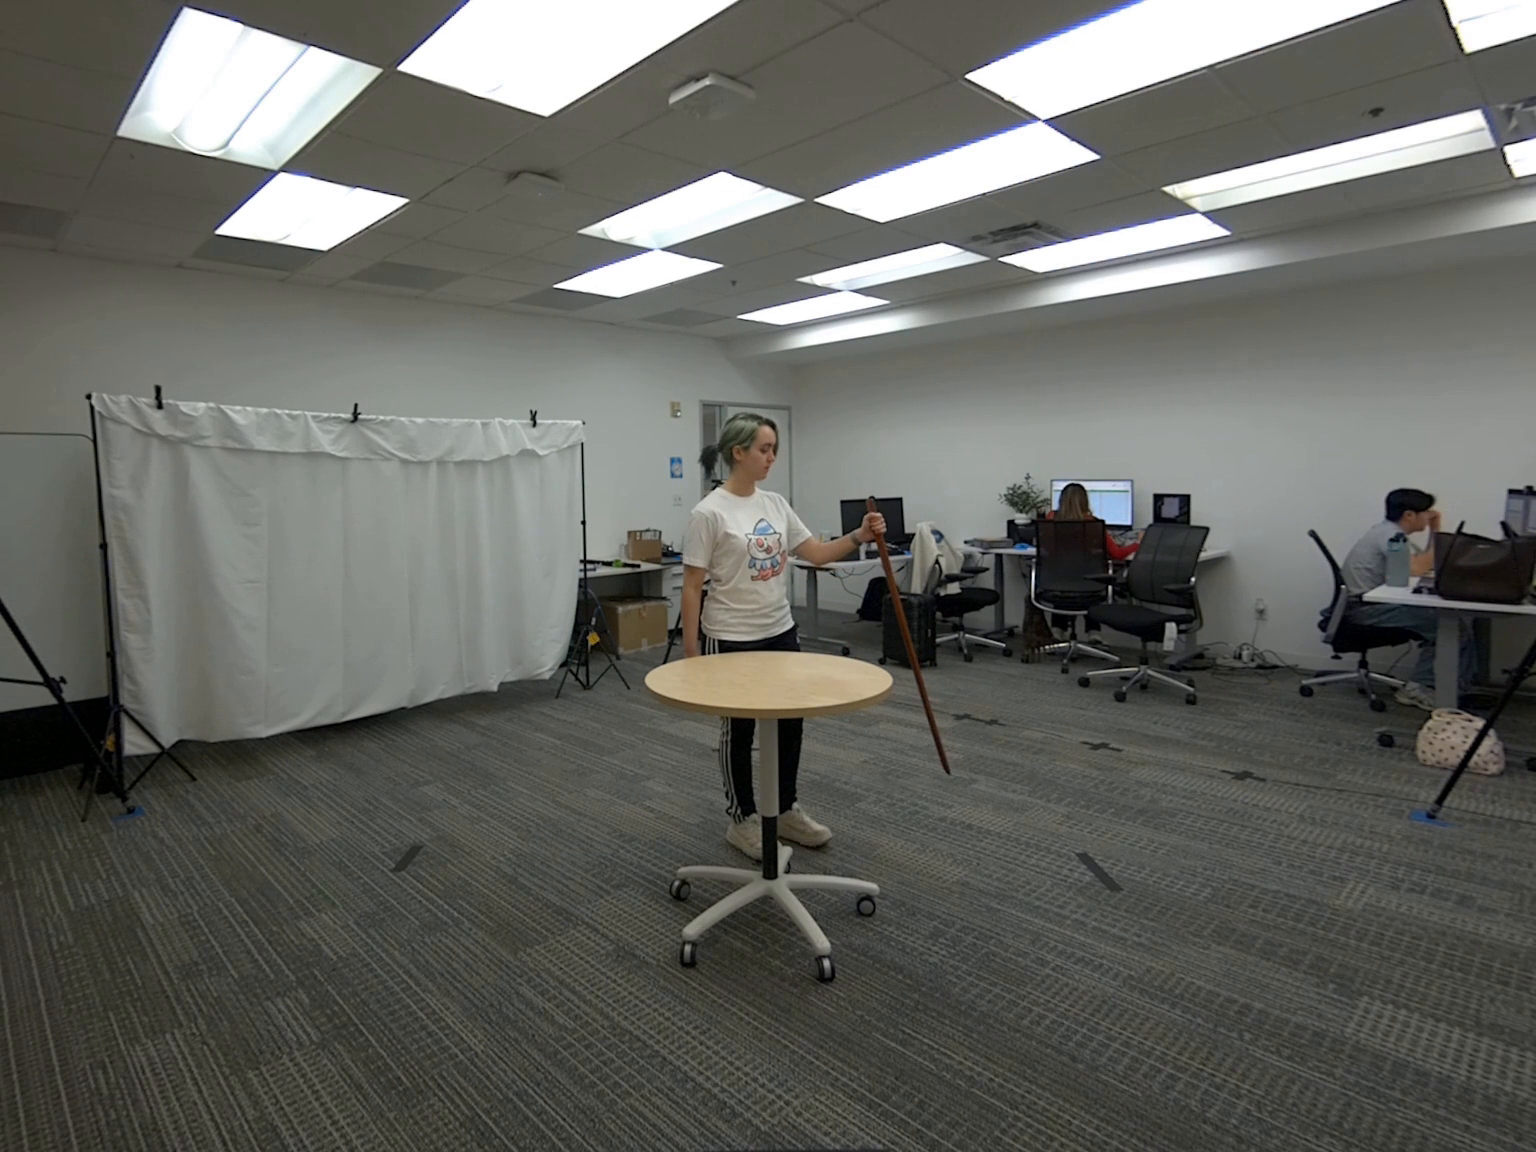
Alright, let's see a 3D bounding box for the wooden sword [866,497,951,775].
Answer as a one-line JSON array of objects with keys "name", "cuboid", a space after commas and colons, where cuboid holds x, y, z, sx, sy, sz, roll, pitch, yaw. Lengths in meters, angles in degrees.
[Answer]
[{"name": "wooden sword", "cuboid": [0.503, 0.232, 3.094, 0.024, 1.024, 0.050, -15, 1, 32]}]
